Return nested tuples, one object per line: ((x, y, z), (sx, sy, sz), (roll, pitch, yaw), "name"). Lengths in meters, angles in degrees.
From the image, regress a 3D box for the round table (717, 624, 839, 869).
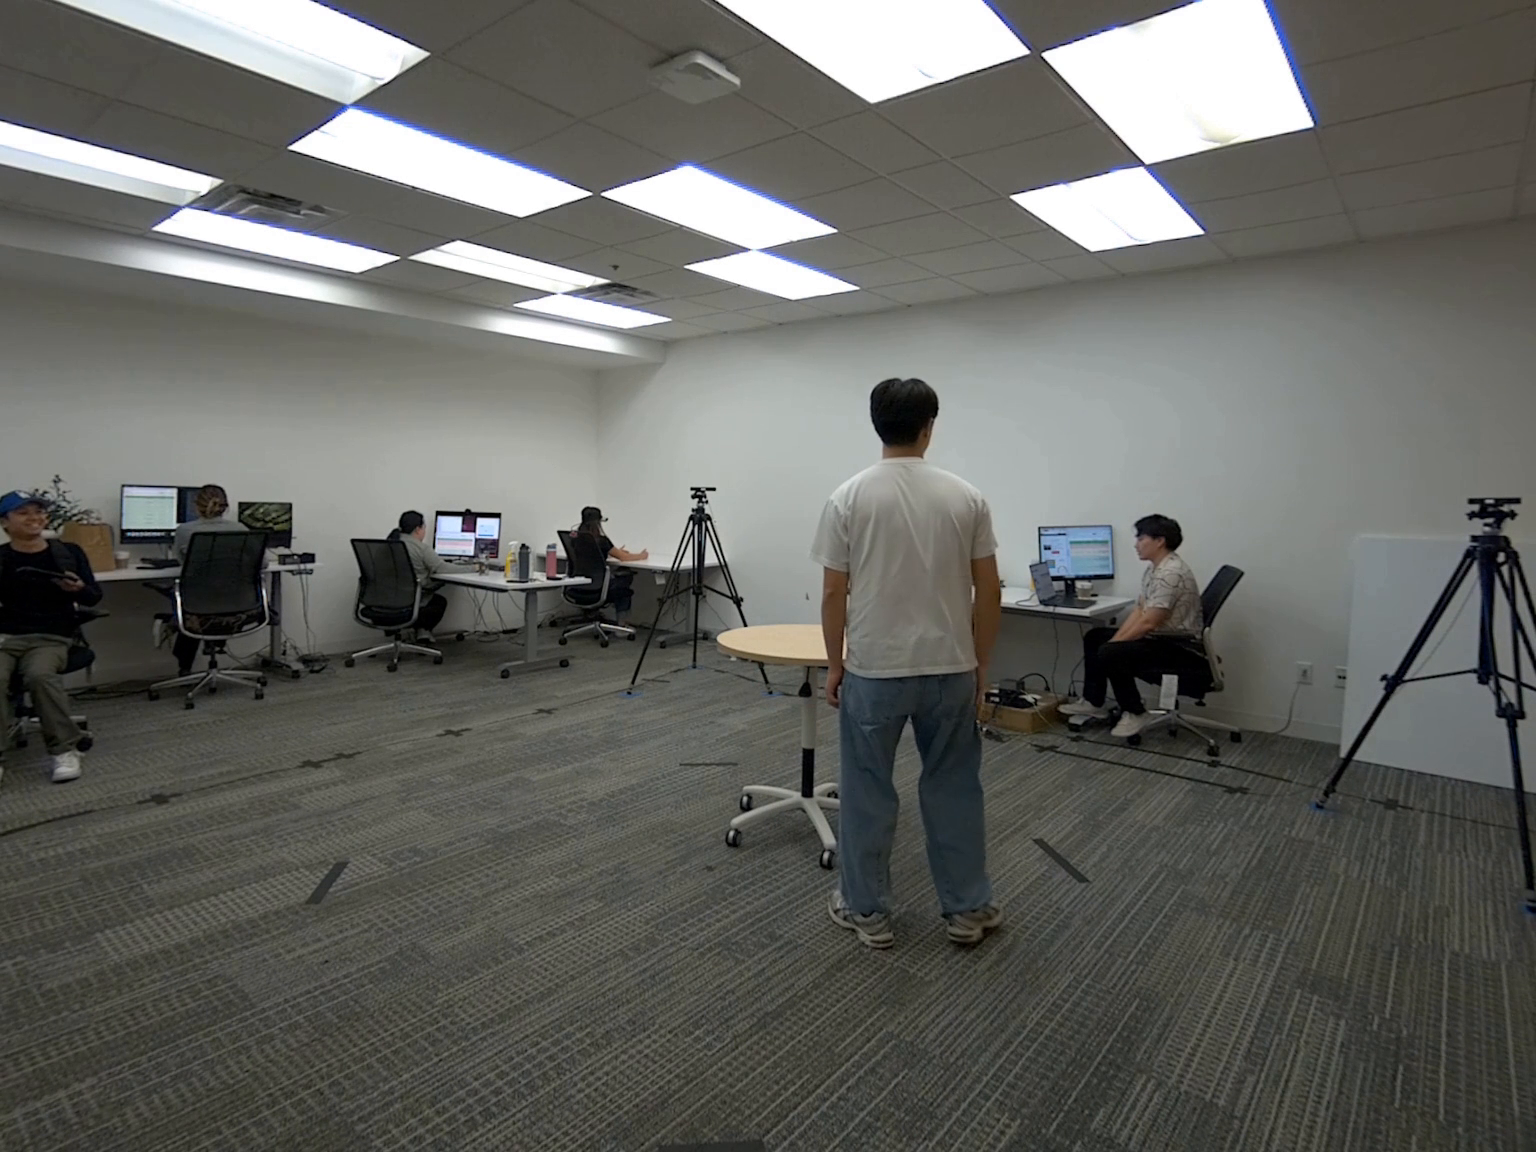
((0.148, 0.649, 3.464), (0.763, 0.791, 0.768), (1, 4, -2), "round table")
